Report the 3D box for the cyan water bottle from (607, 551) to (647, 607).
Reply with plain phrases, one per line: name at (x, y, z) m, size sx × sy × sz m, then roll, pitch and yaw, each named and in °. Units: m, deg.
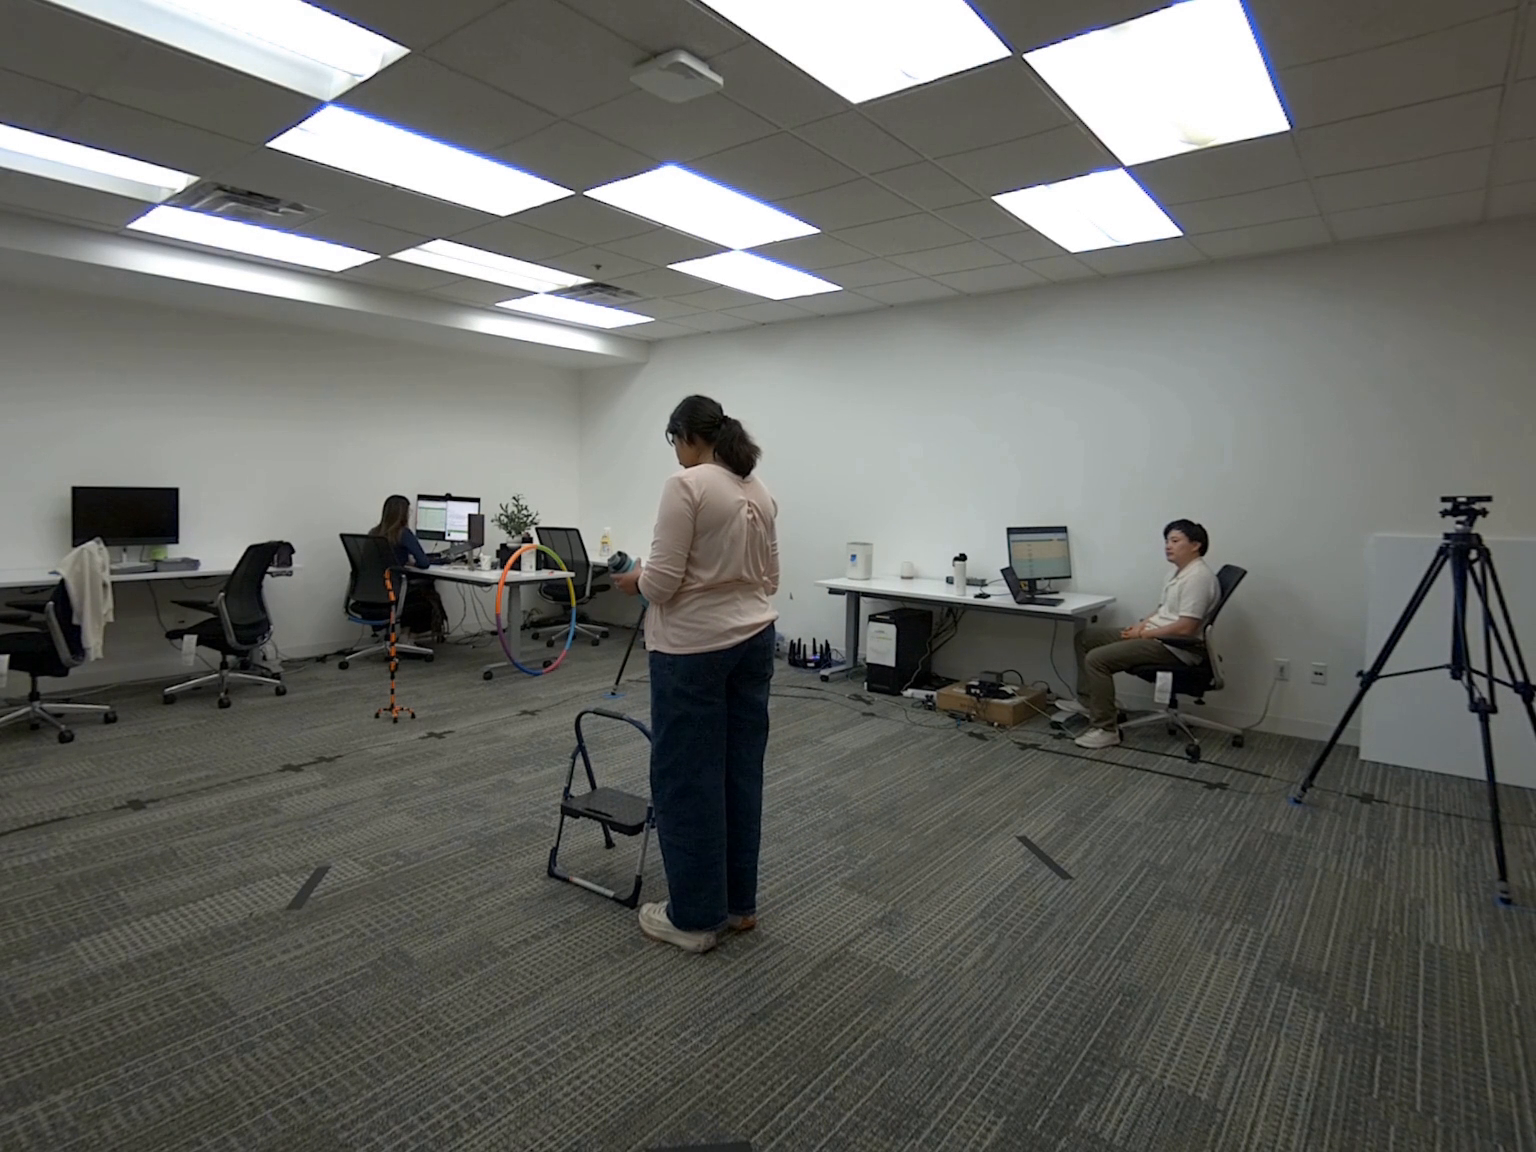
cyan water bottle at (-0.439, 0.019, 2.837) m, size 0.095 × 0.092 × 0.273 m, roll 5°, pitch -37°, yaw 54°
